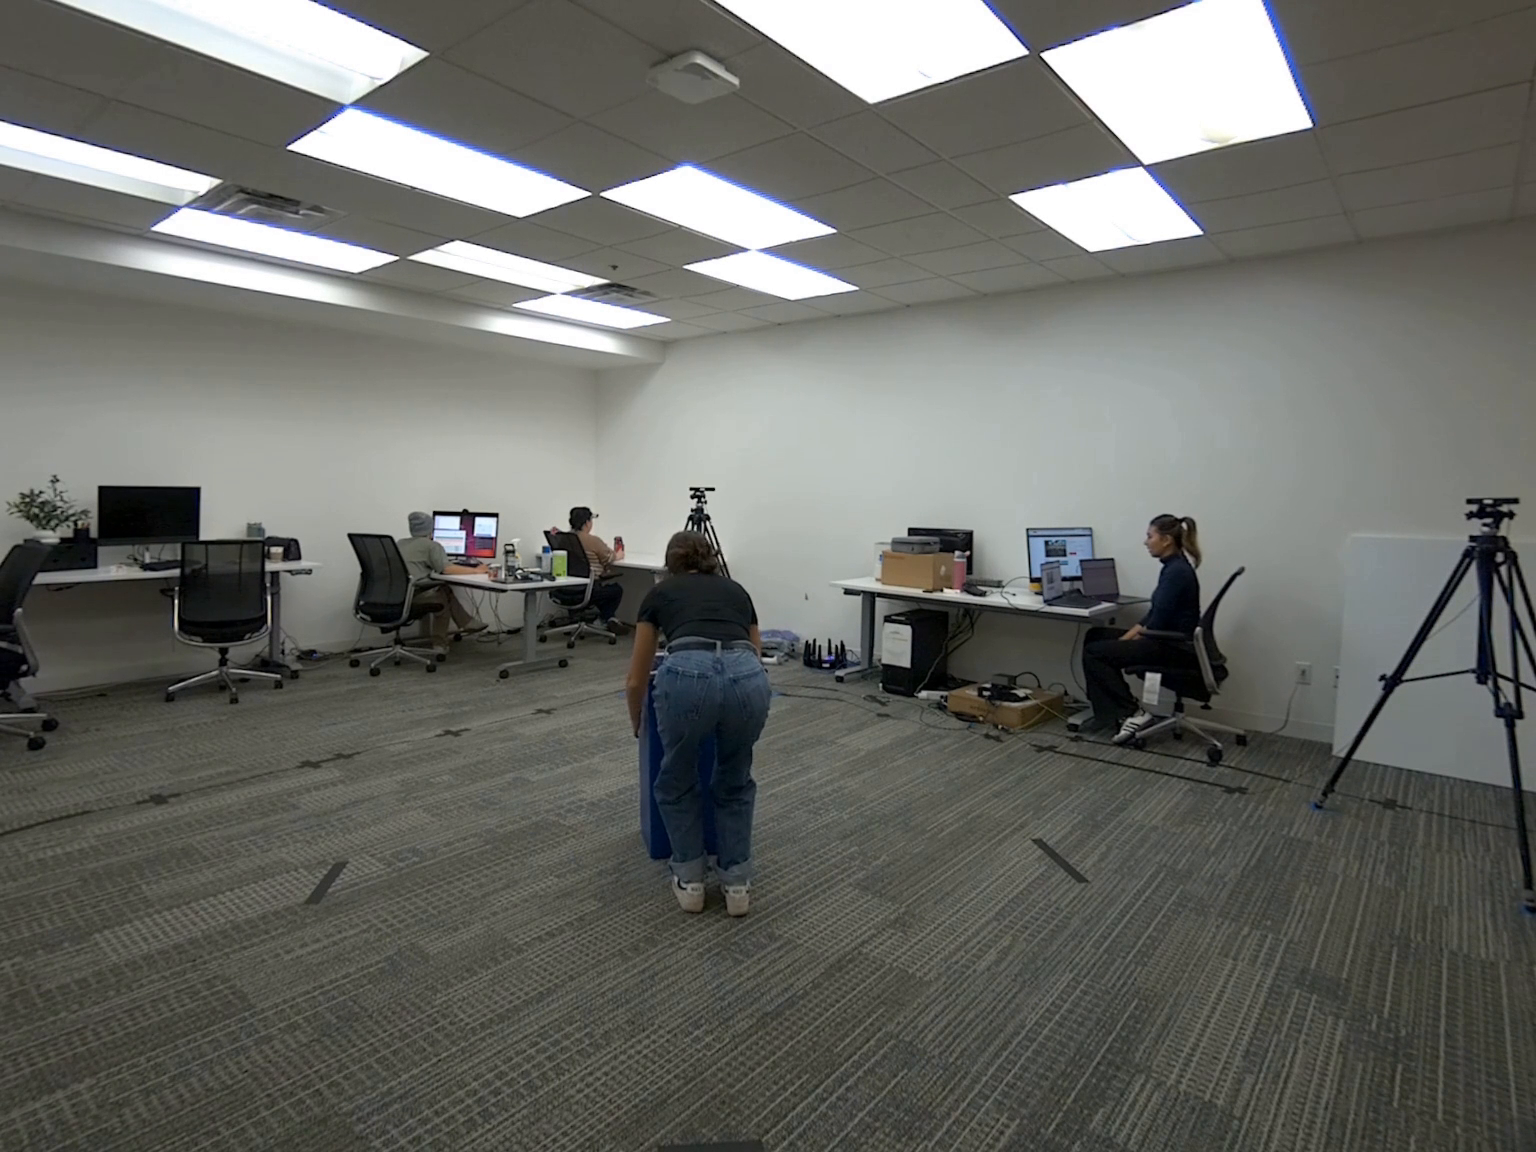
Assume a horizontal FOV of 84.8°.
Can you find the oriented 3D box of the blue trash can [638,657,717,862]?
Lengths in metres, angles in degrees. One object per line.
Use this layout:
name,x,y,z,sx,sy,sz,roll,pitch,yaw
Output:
blue trash can,-0.339,0.683,3.326,0.368,0.712,0.385,0,2,-15
